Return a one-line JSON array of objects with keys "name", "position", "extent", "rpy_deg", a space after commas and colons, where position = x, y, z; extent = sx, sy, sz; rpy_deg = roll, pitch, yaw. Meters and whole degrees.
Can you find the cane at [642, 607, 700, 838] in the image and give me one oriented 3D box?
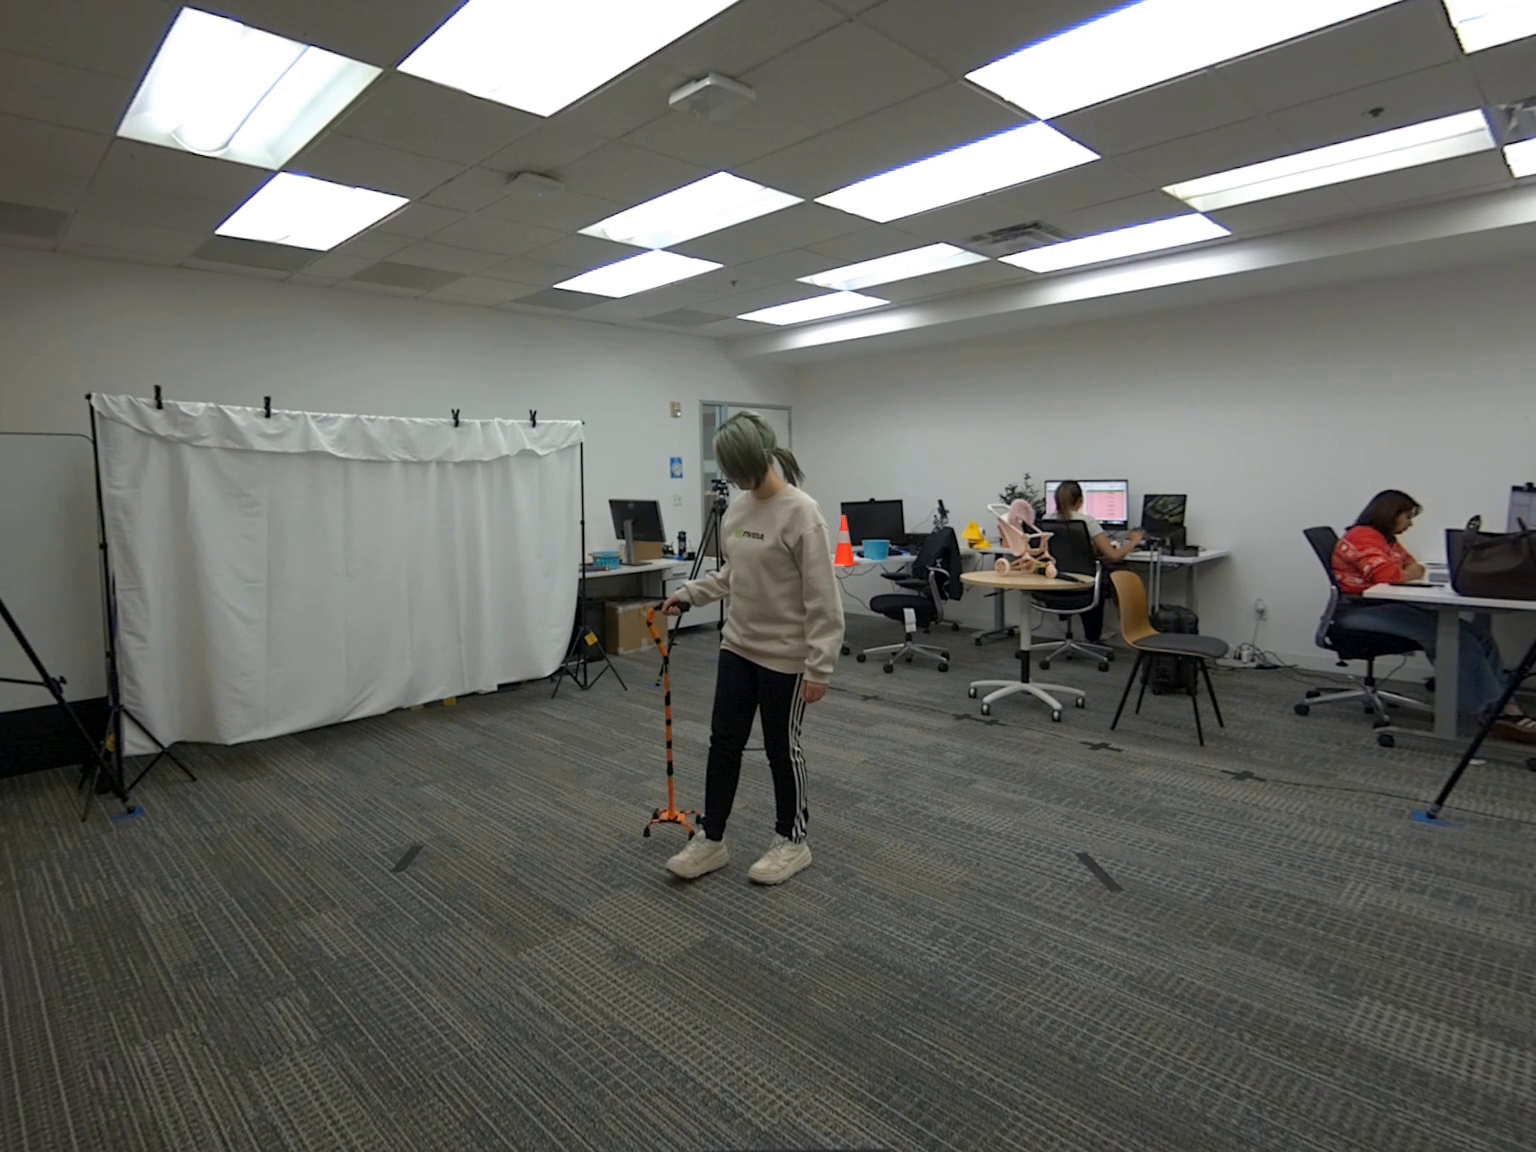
[{"name": "cane", "position": [-0.383, 0.546, 3.237], "extent": [0.208, 0.899, 0.151], "rpy_deg": [-1, 10, 9]}]
